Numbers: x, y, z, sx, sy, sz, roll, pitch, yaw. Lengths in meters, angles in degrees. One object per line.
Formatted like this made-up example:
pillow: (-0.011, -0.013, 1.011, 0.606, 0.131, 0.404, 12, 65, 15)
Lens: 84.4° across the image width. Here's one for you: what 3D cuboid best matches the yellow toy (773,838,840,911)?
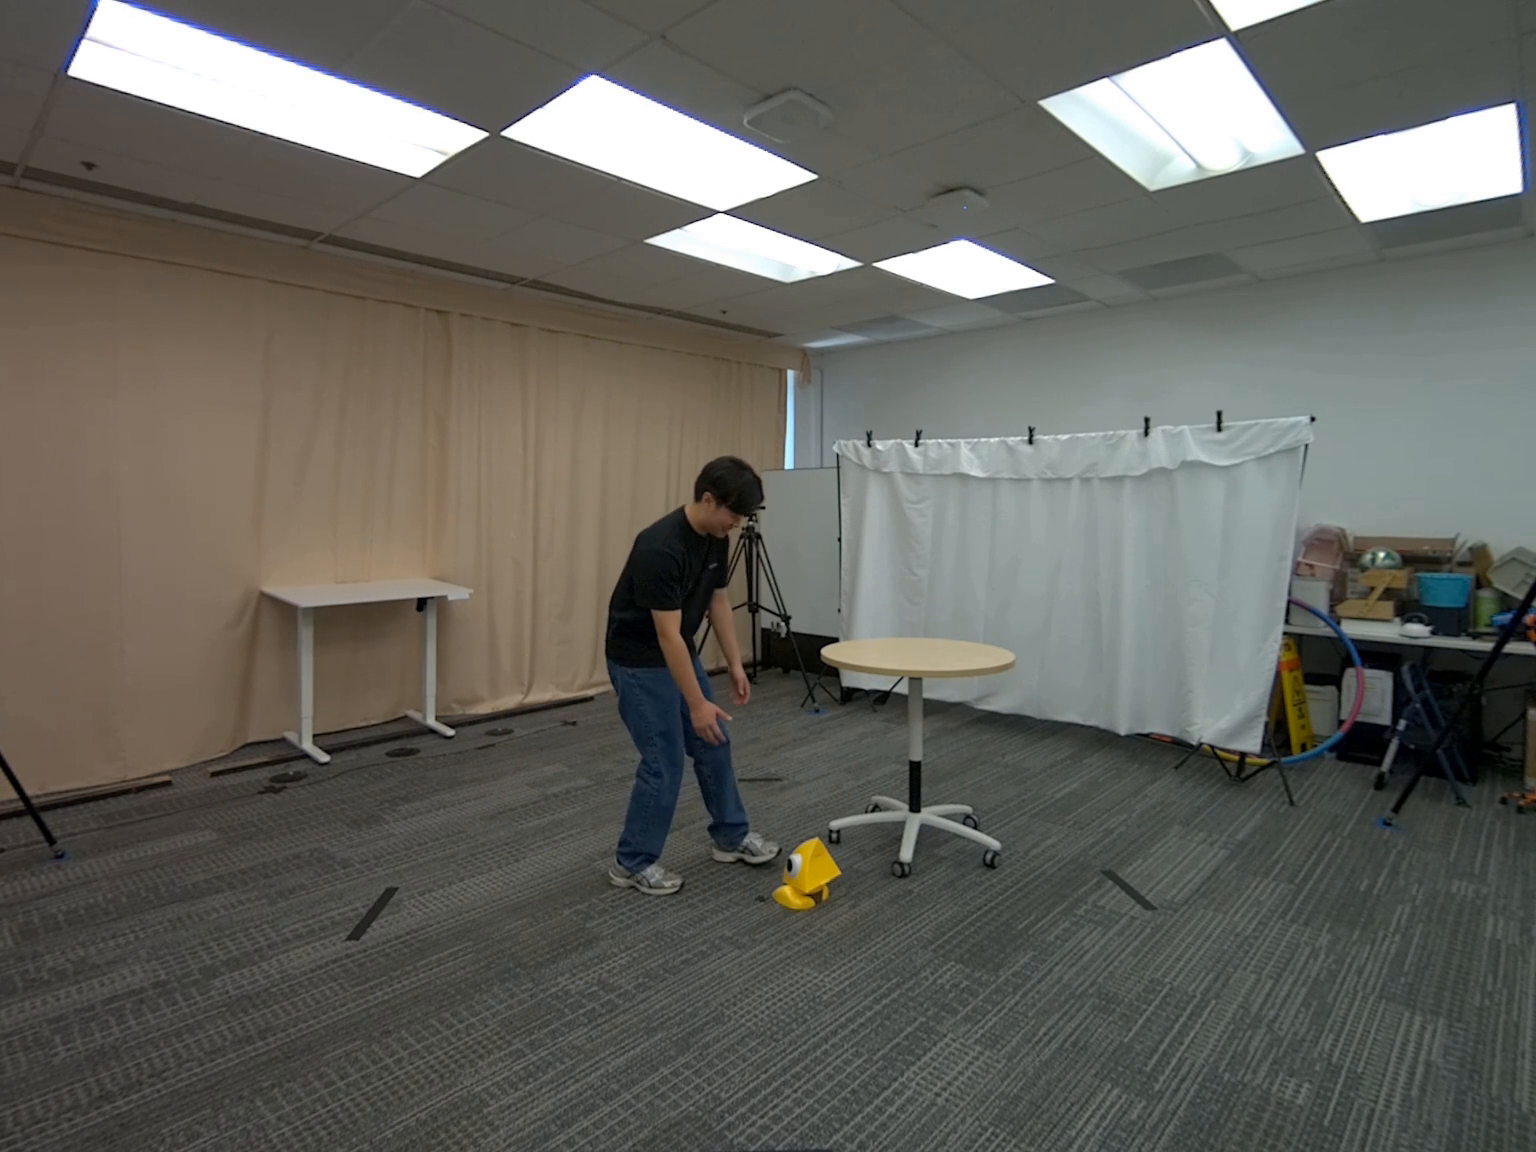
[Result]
yellow toy: (0.130, 1.030, 2.990, 0.199, 0.230, 0.198, 3, 5, 43)
